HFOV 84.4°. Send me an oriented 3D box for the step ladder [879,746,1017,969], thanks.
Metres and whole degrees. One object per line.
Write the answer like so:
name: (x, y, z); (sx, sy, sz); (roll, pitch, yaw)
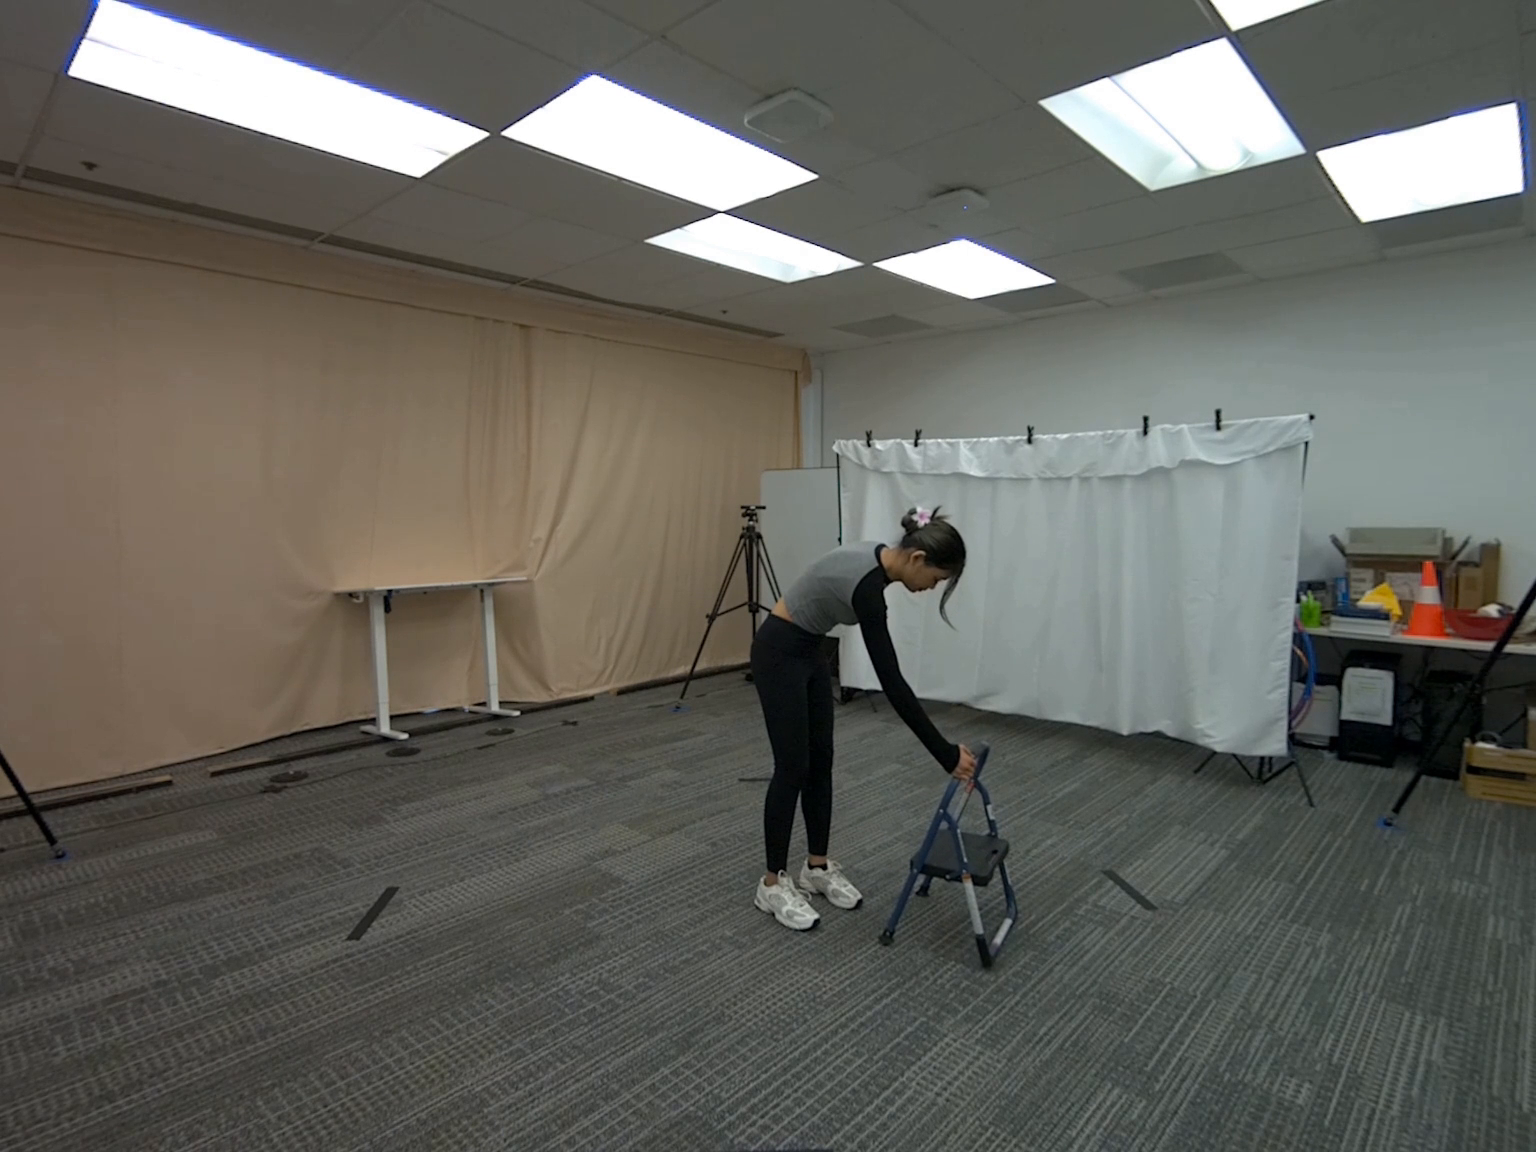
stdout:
step ladder: (0.610, 0.853, 2.749); (0.359, 0.605, 0.419); (2, 3, 28)
